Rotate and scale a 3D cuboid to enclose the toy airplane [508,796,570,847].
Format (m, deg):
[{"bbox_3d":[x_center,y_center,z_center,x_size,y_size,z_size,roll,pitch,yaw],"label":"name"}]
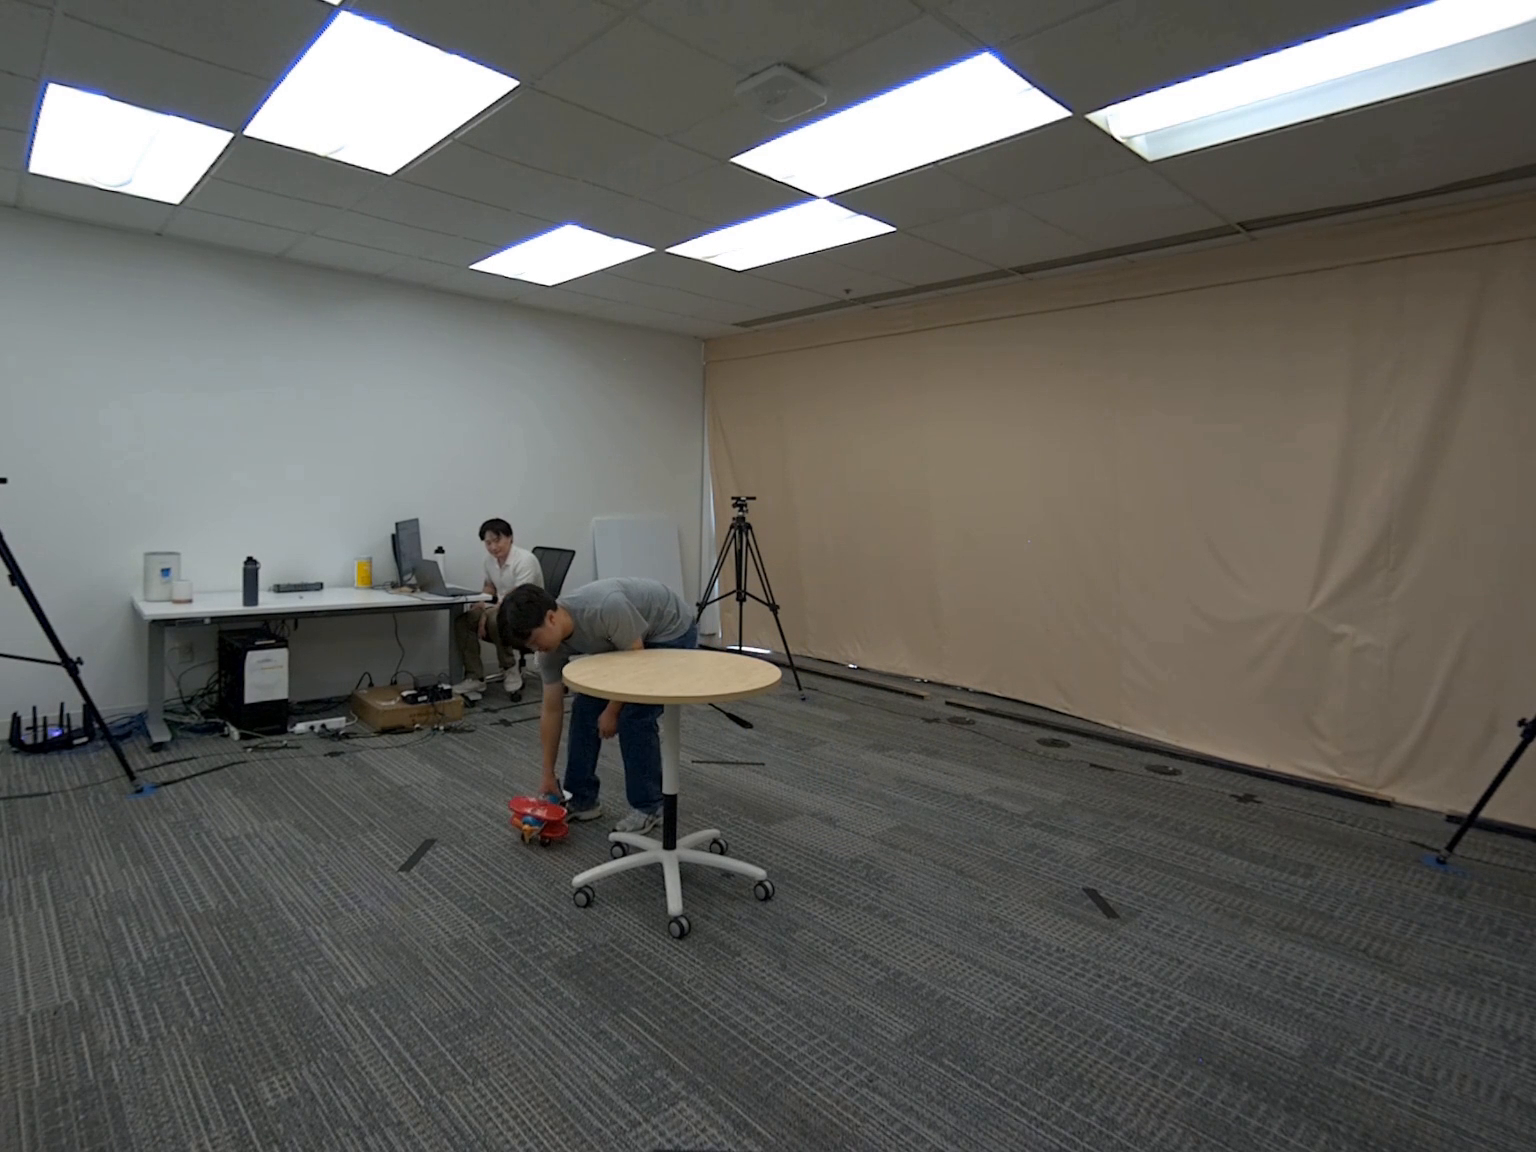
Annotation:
[{"bbox_3d":[-0.921,0.951,3.377,0.250,0.153,0.266,-10,37,-4],"label":"toy airplane"}]
